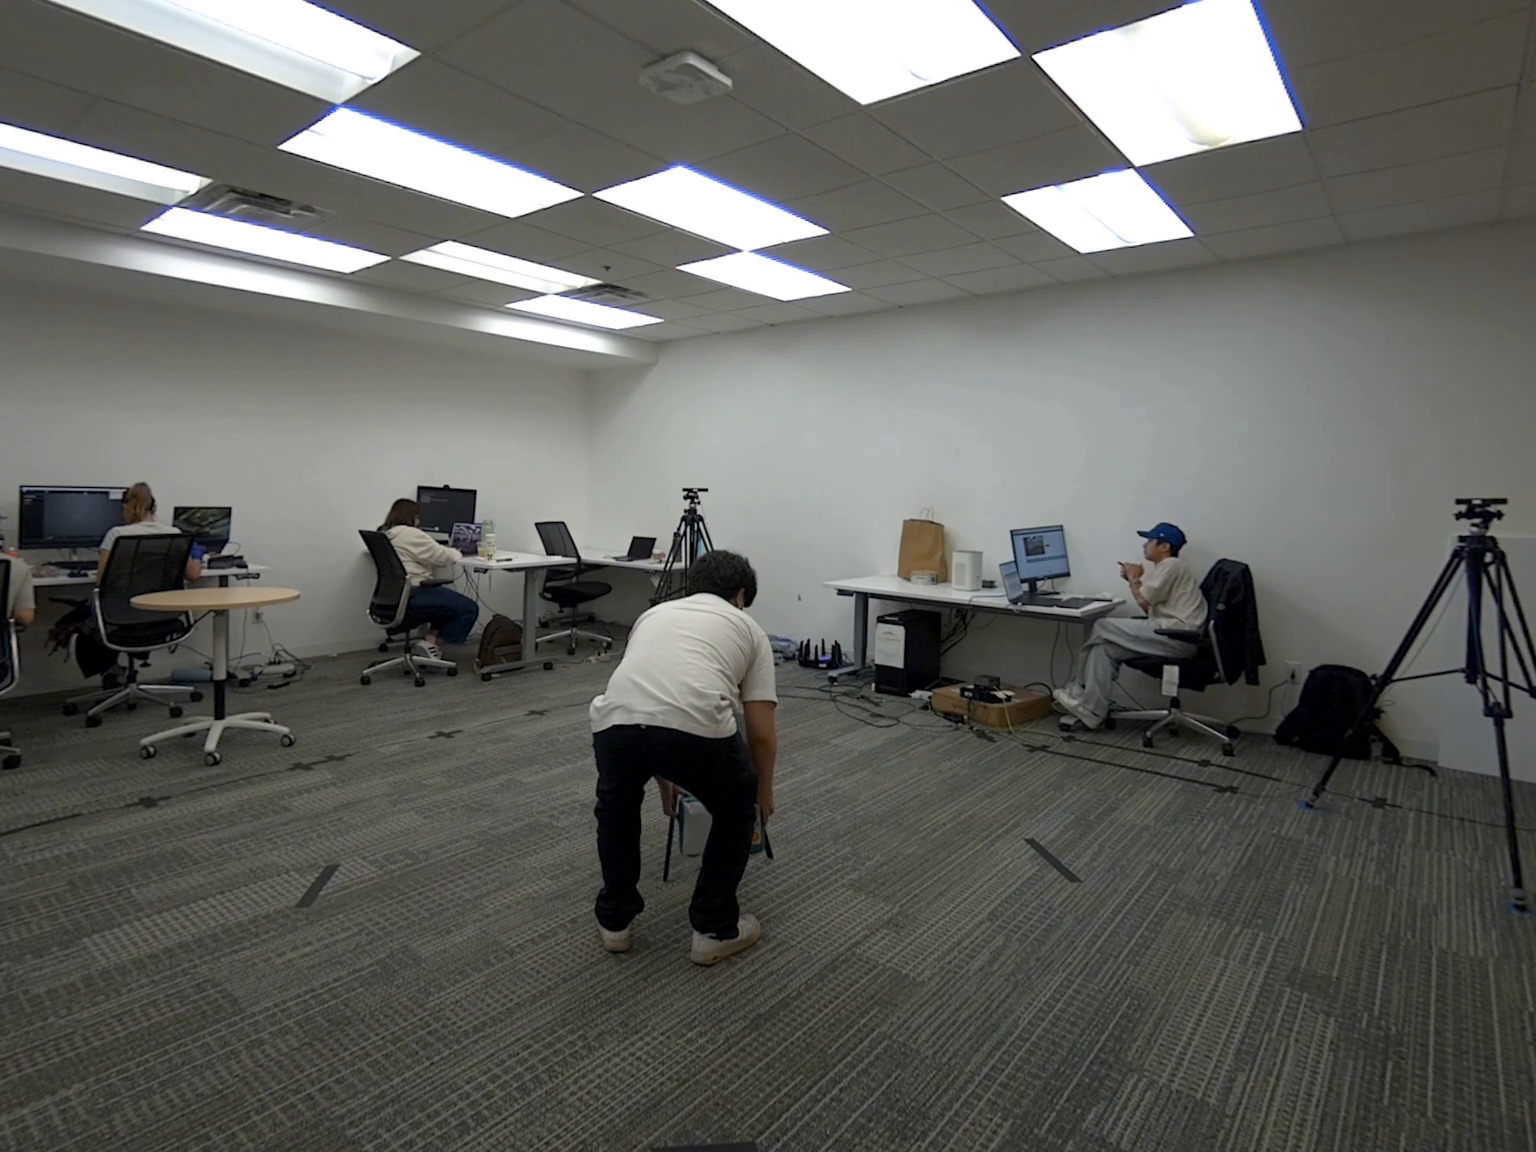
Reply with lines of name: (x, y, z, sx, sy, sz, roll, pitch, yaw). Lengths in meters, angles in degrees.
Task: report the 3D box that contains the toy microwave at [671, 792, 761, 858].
toy microwave: (-0.181, 0.821, 2.813, 0.285, 0.185, 0.152, -1, -7, -4)
